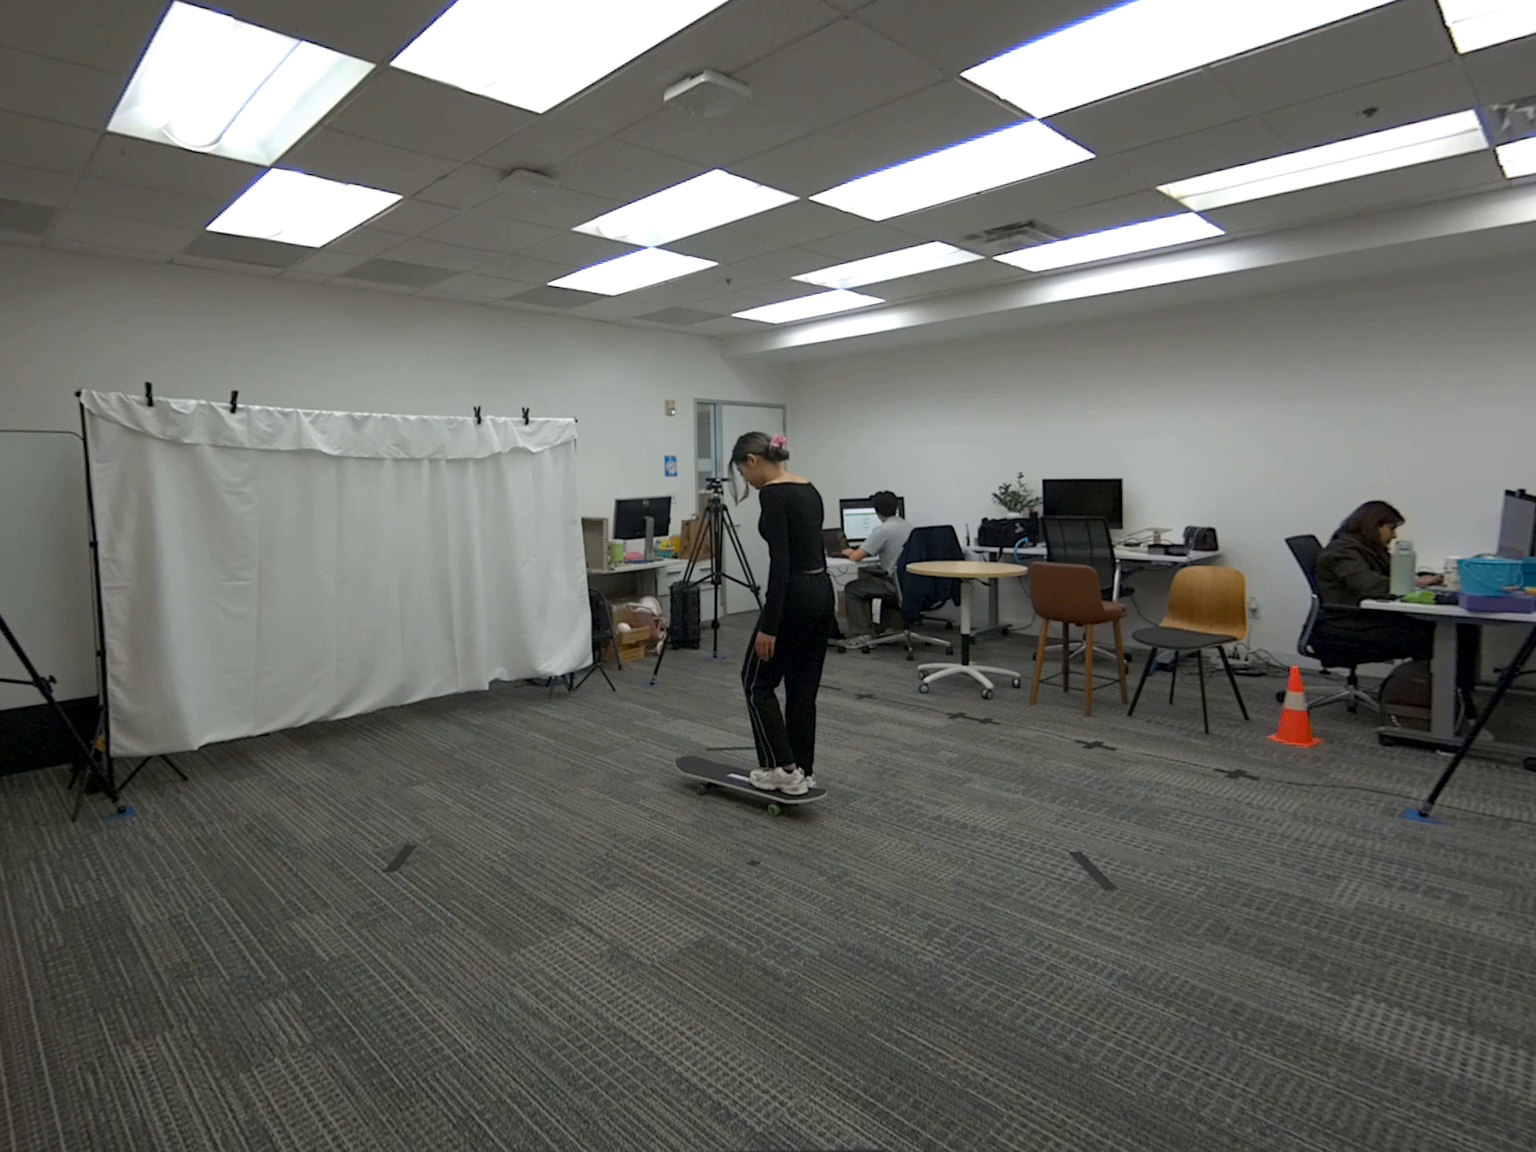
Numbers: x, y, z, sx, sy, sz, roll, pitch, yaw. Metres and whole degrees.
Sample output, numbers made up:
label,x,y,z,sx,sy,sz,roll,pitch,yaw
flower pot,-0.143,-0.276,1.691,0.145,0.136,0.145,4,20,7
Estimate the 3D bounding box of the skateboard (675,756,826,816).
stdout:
label,x,y,z,sx,sy,sz,roll,pitch,yaw
skateboard,-0.090,0.925,3.722,0.809,0.110,0.189,5,9,39
